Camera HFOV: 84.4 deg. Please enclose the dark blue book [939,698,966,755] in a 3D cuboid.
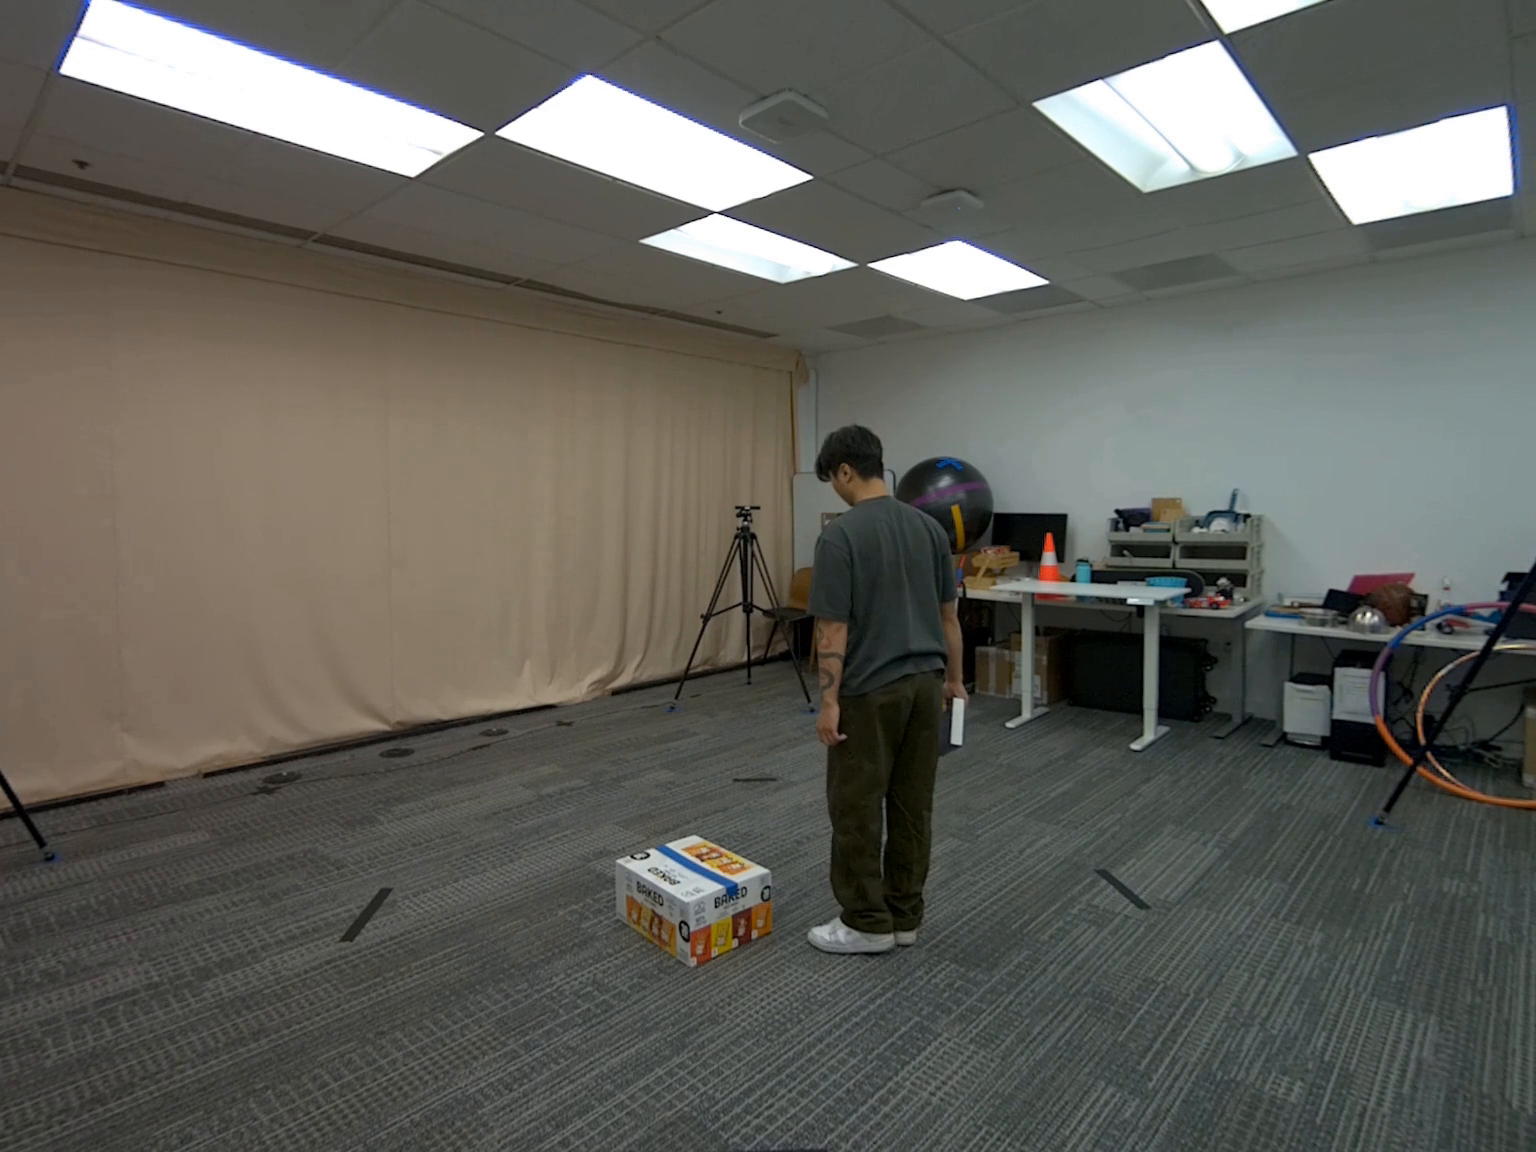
[{"bbox_3d":[0.624,0.521,2.897,0.045,0.165,0.242,8,-20,1],"label":"dark blue book"}]
